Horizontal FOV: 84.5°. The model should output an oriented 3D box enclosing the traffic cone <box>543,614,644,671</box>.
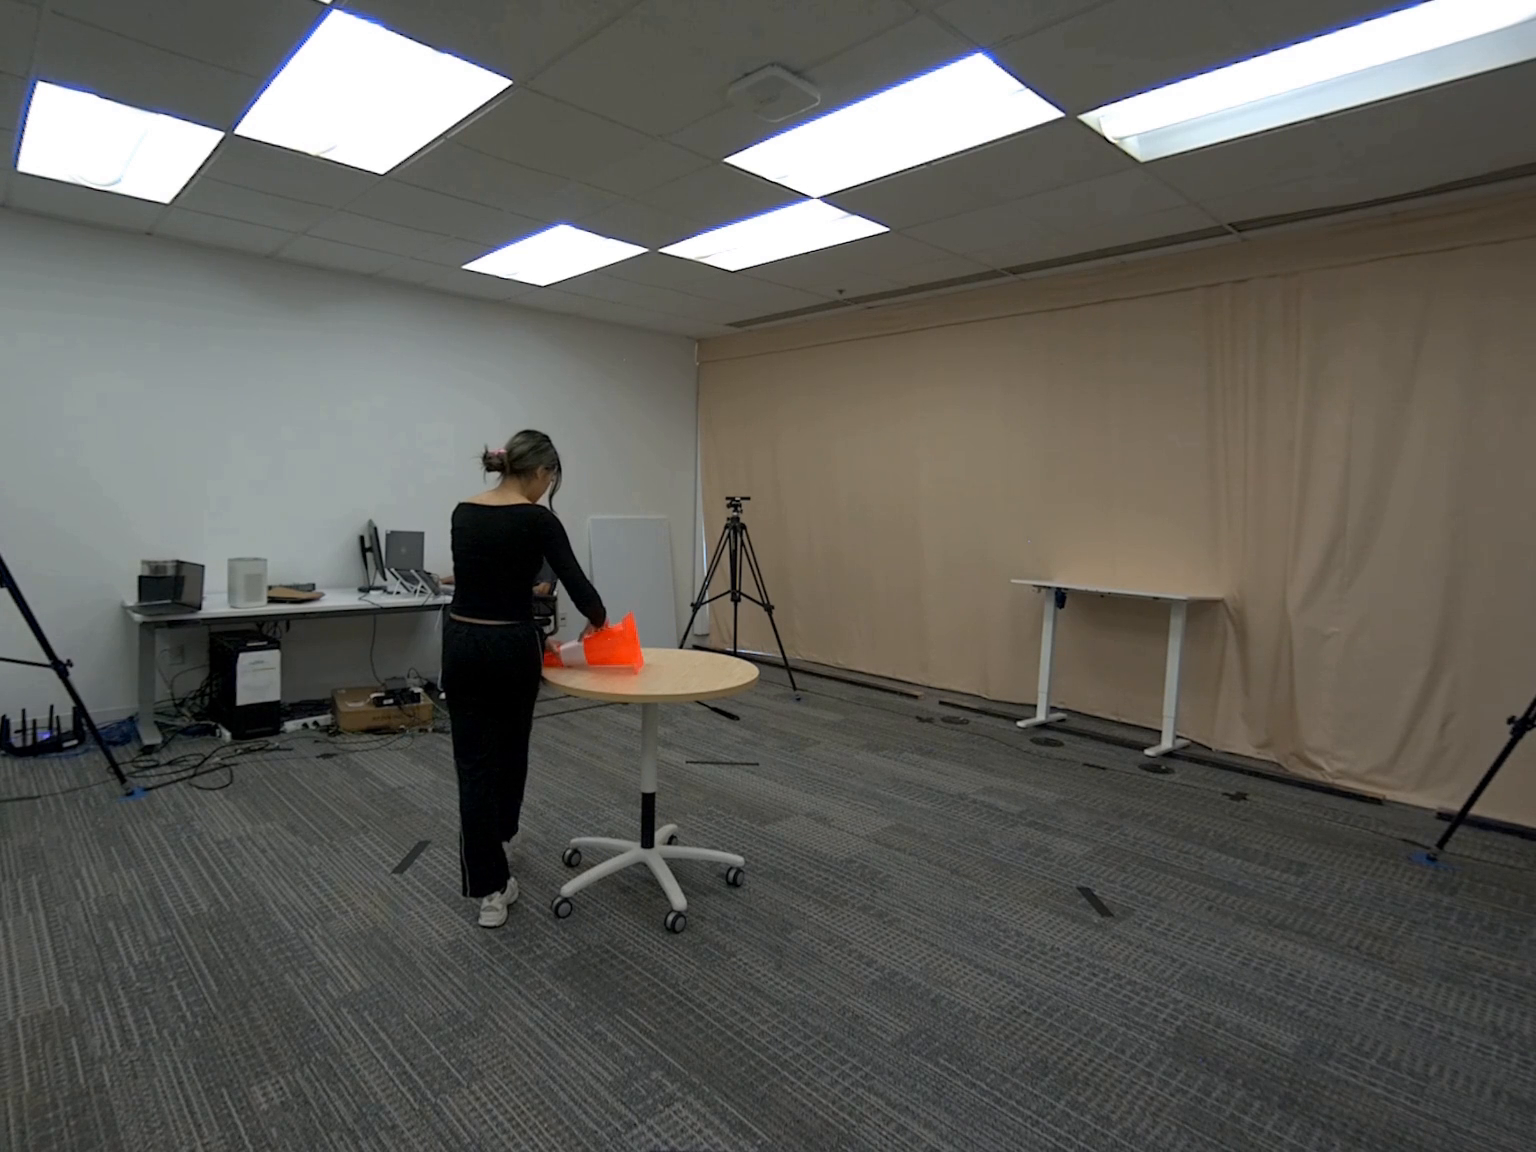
[{"bbox_3d":[-0.668,0.255,2.954,0.384,0.206,0.202,-6,-6,3],"label":"traffic cone"}]
